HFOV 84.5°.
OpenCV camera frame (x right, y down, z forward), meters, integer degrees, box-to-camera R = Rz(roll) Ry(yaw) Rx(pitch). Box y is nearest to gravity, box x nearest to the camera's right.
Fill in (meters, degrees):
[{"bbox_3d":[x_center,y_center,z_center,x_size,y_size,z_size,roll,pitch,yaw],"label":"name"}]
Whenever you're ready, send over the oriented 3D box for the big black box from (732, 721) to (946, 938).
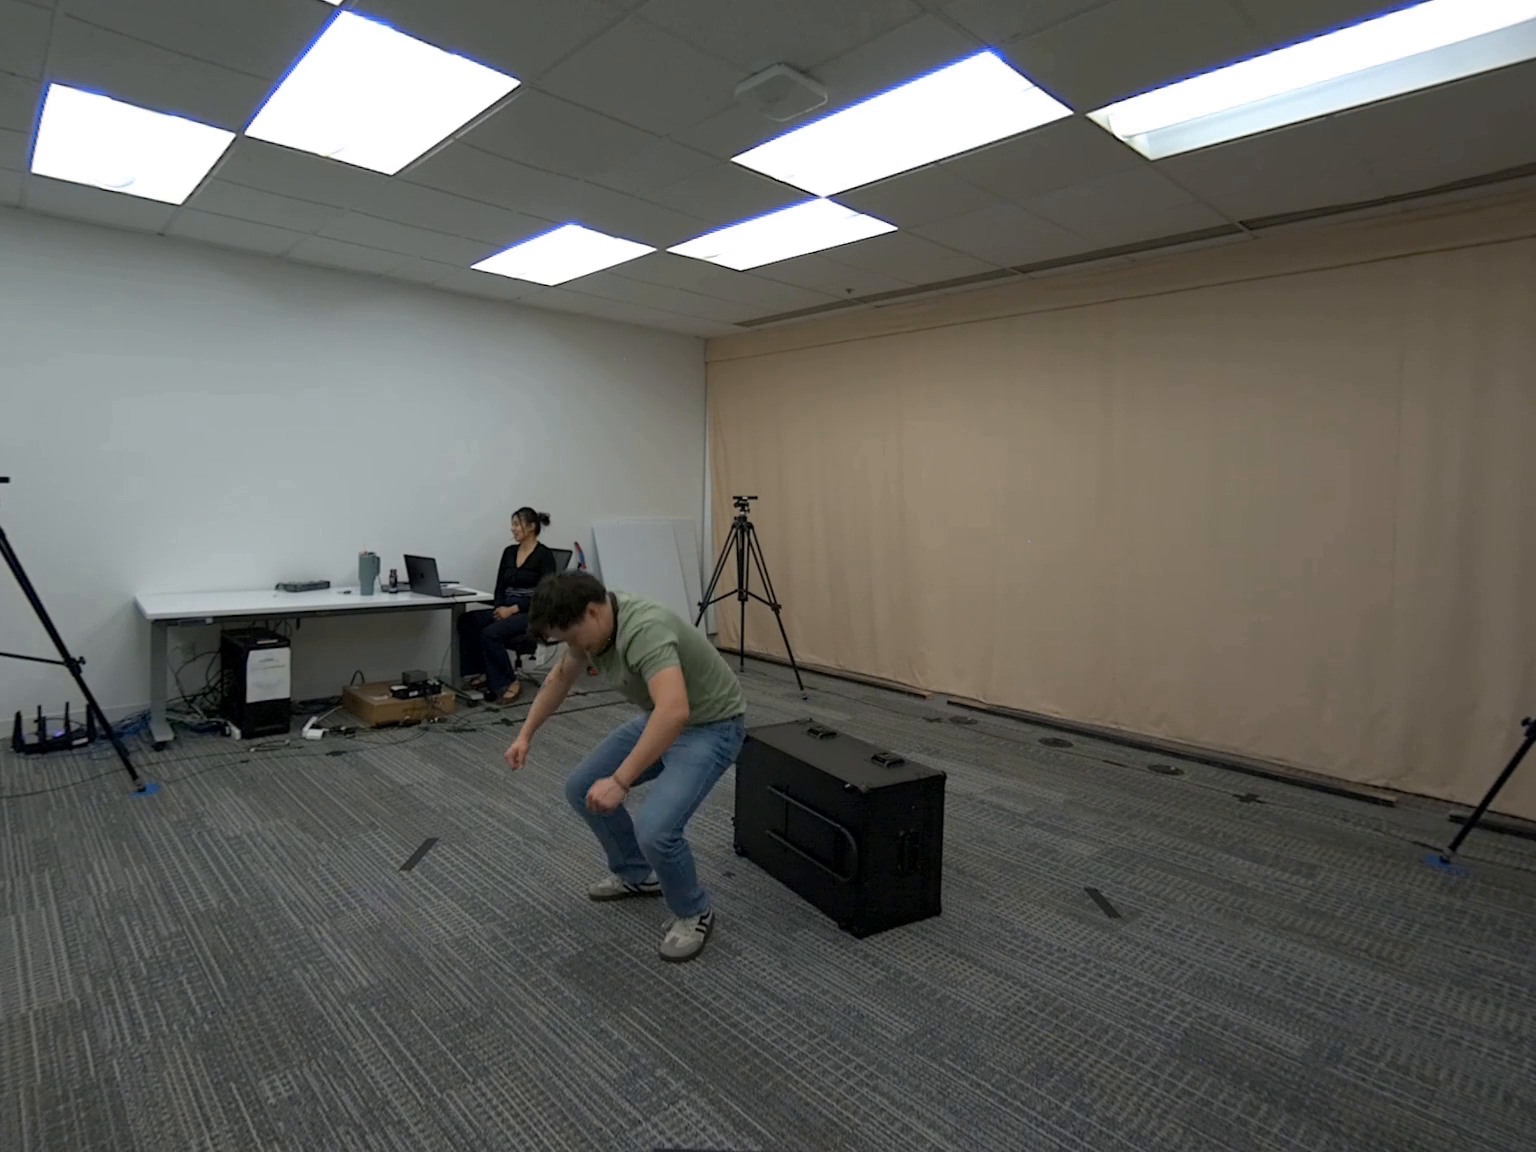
[{"bbox_3d":[0.197,0.870,3.096,0.388,0.520,0.882,-1,5,-31],"label":"big black box"}]
